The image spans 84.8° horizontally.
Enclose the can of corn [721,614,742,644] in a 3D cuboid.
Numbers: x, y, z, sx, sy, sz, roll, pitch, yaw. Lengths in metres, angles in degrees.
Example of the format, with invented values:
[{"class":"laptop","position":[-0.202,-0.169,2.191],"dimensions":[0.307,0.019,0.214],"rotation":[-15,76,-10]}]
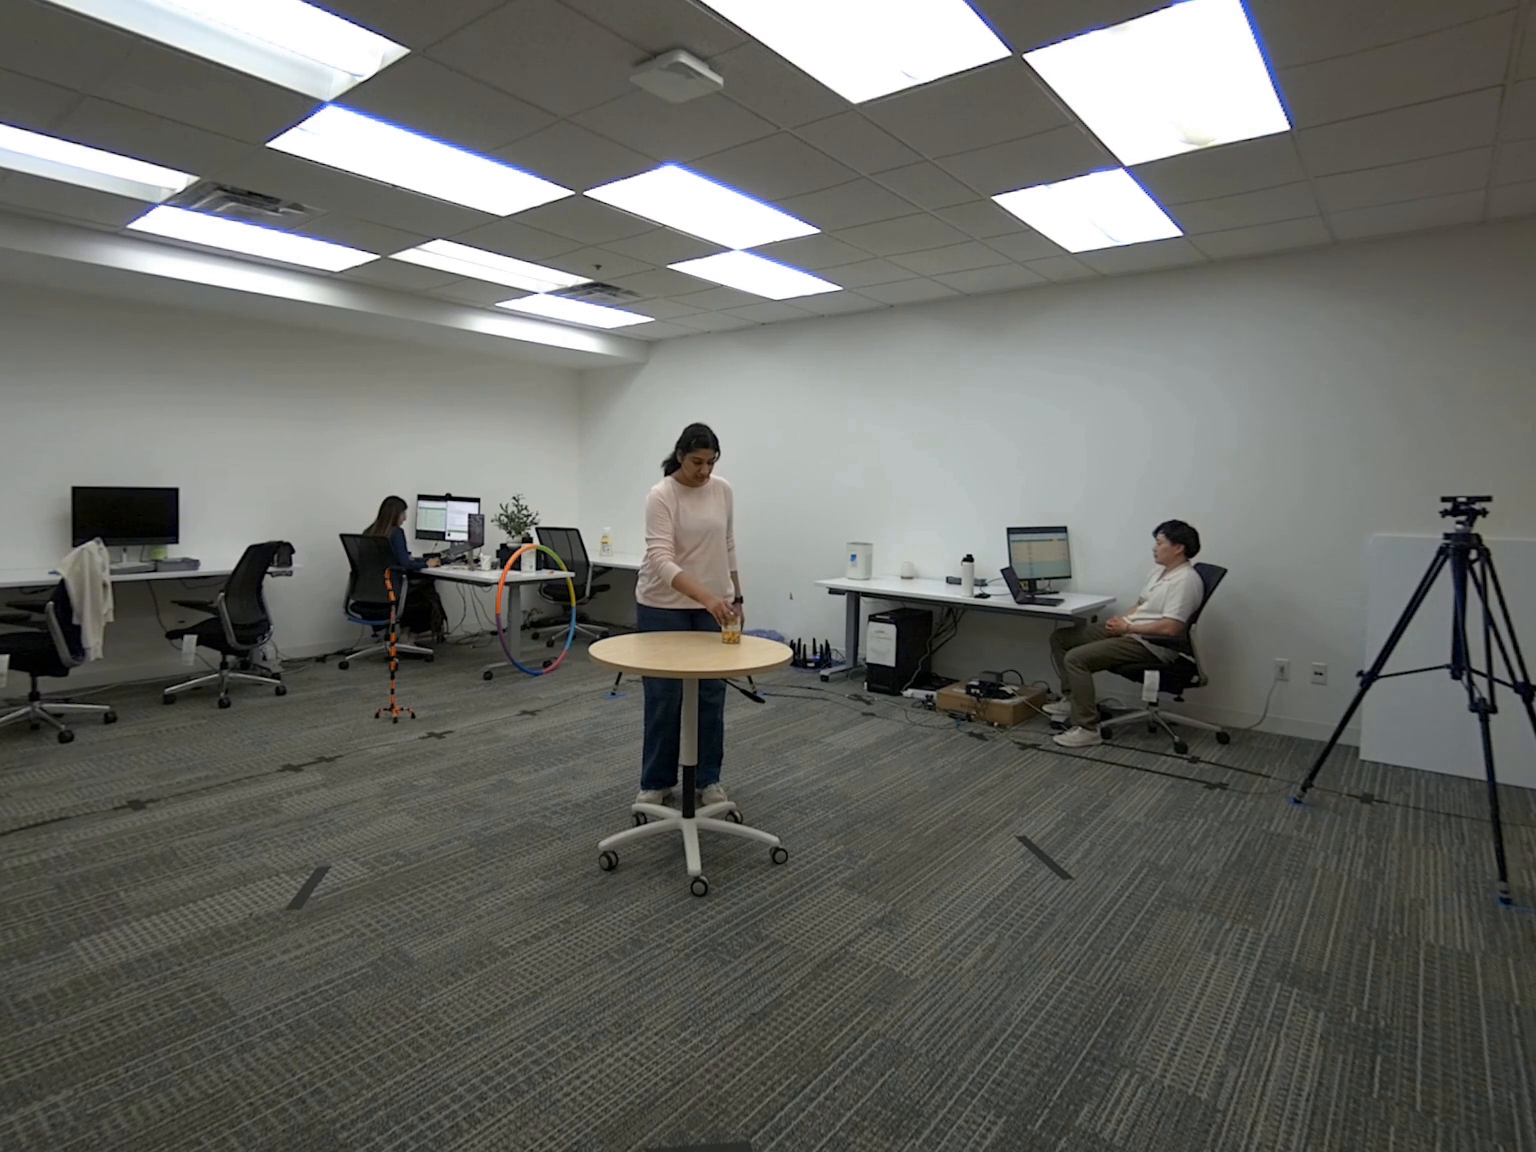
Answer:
[{"class":"can of corn","position":[-0.160,0.199,3.359],"dimensions":[0.074,0.111,0.074],"rotation":[2,4,-2]}]
